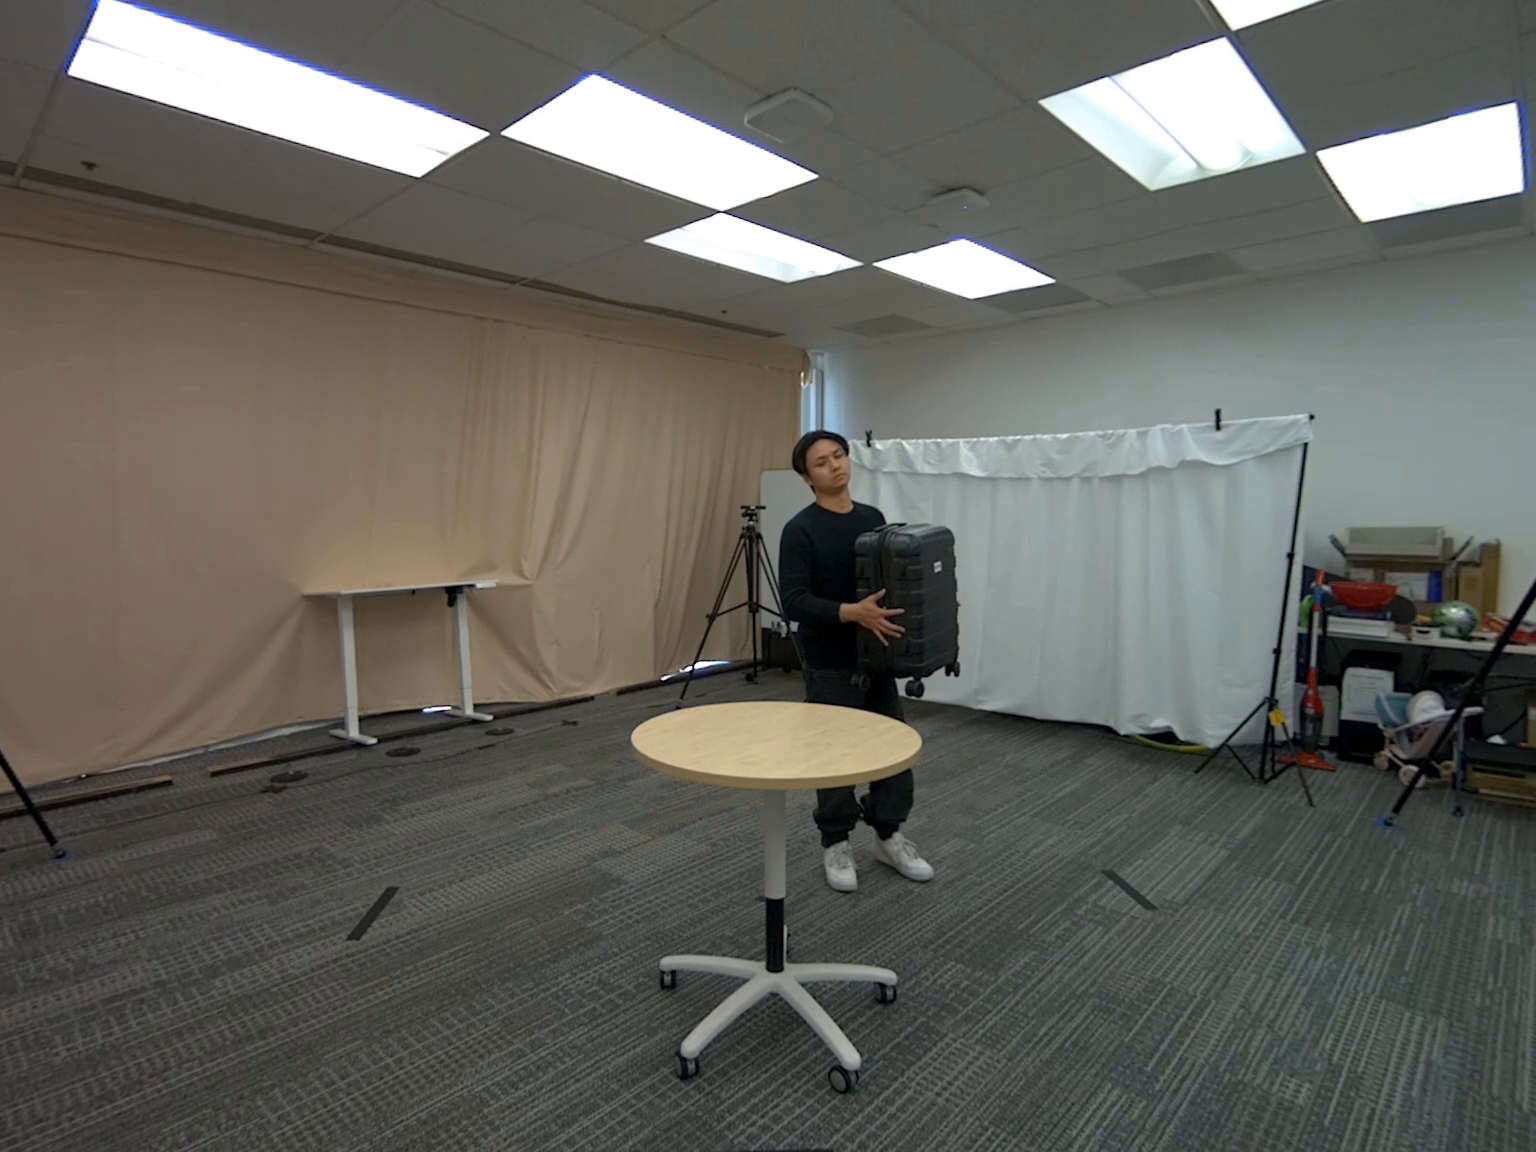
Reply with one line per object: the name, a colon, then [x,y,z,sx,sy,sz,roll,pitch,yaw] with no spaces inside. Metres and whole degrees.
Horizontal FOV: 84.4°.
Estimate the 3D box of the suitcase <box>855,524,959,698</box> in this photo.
suitcase: [0.484,0.096,2.912,0.256,0.547,0.365,2,7,37]
